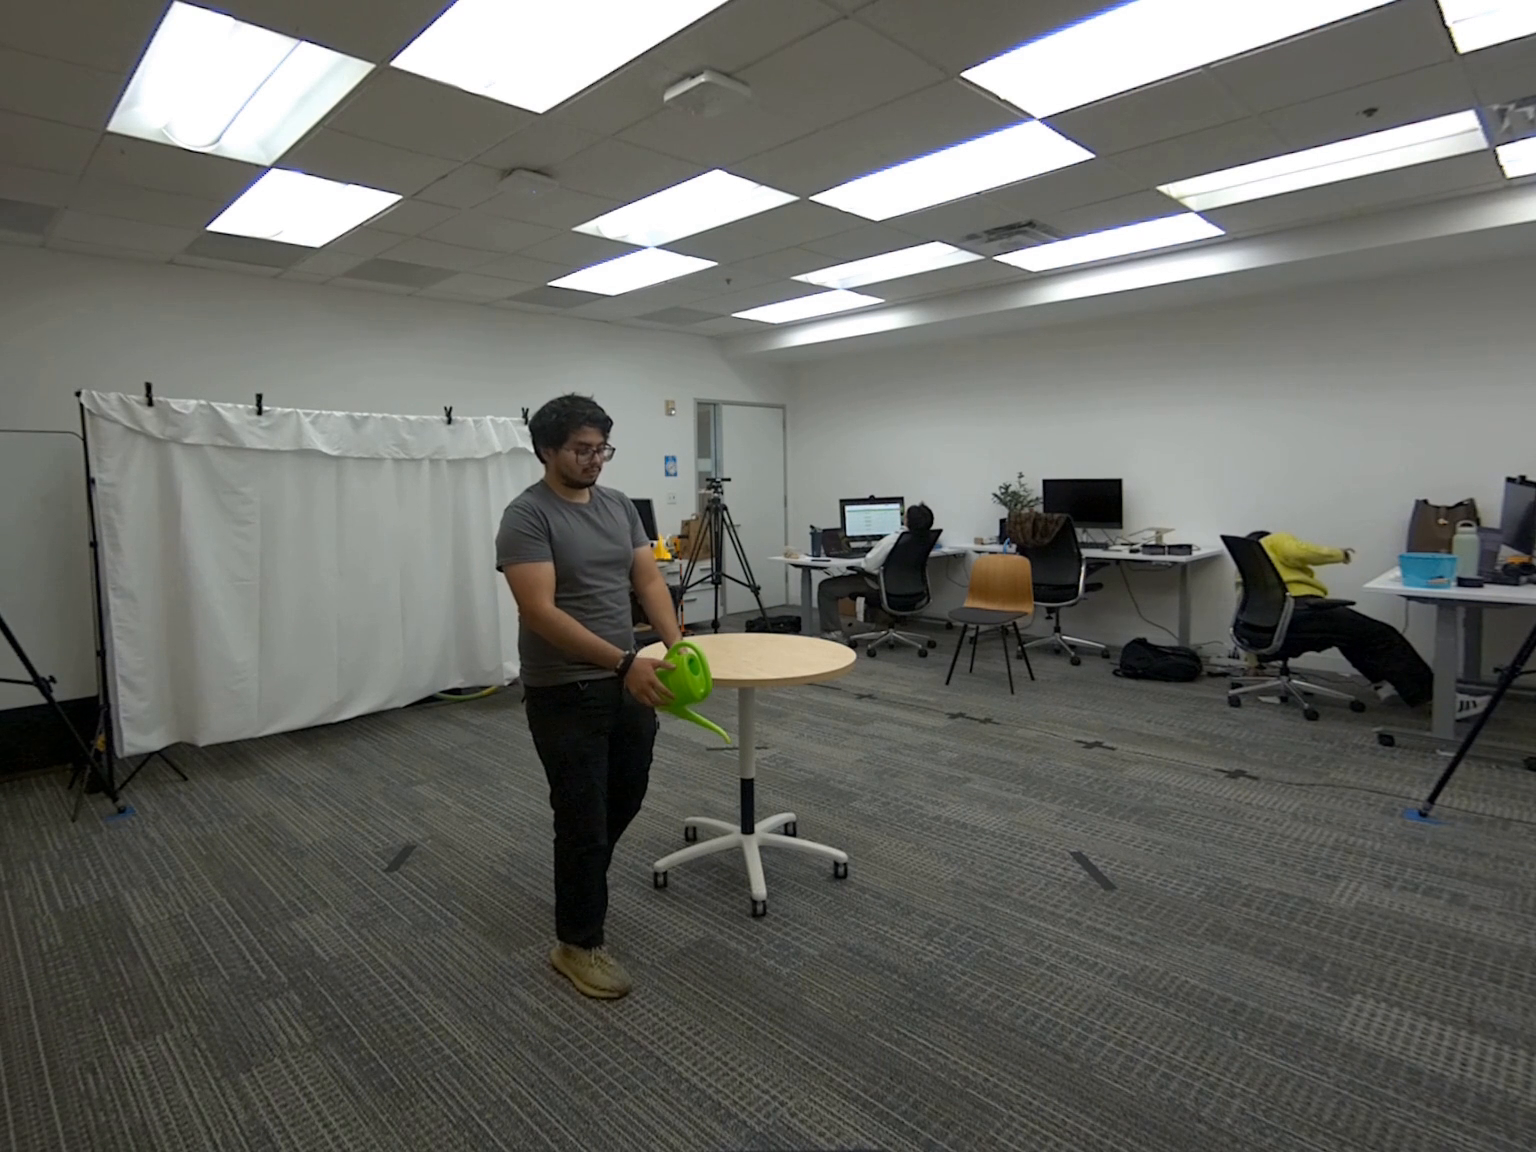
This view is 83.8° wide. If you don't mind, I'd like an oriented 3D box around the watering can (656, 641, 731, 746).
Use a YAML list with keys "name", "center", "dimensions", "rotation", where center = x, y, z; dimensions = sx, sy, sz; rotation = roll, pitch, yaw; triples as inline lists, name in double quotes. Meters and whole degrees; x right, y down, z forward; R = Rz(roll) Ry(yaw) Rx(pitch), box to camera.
- name: "watering can"
  center: [-0.210, 0.309, 2.184]
  dimensions: [0.179, 0.283, 0.095]
  rotation: [-22, -20, 28]
